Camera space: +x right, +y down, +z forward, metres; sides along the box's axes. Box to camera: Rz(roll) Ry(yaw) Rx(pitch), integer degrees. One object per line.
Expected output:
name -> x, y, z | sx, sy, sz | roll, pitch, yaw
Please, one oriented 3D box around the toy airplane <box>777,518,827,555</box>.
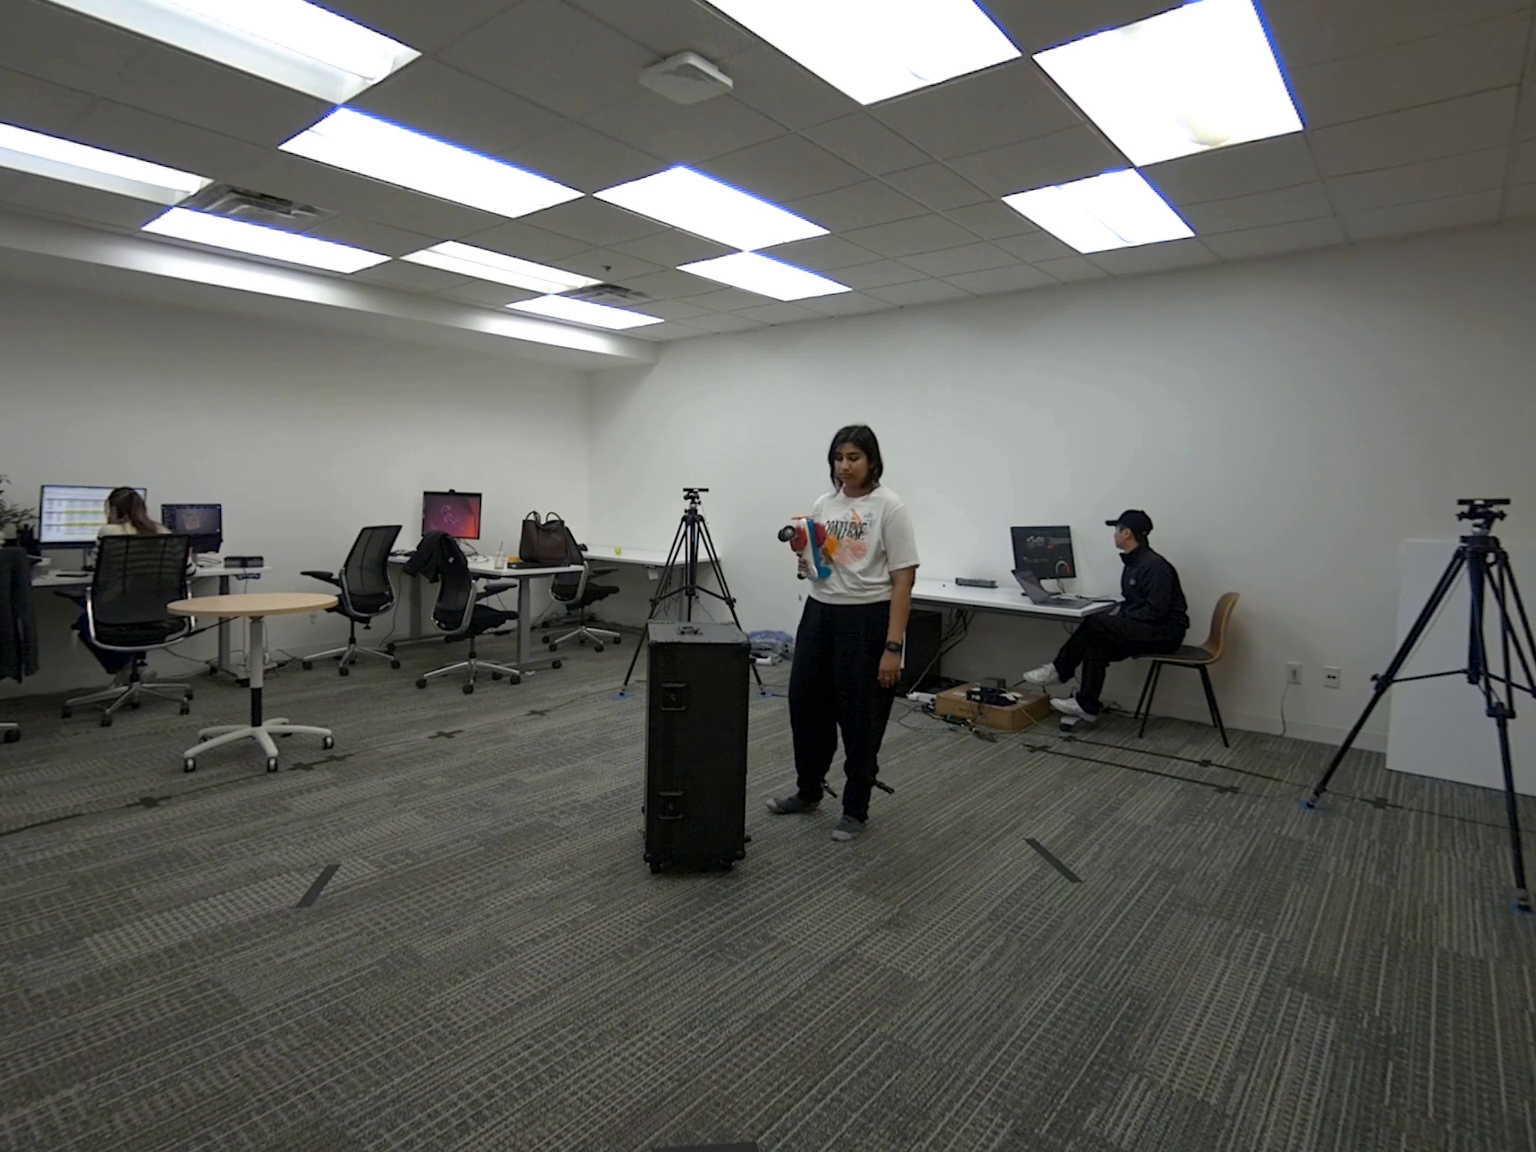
toy airplane -> 0.137, -0.118, 3.421 | 0.155, 0.252, 0.260 | -23, 25, -14
